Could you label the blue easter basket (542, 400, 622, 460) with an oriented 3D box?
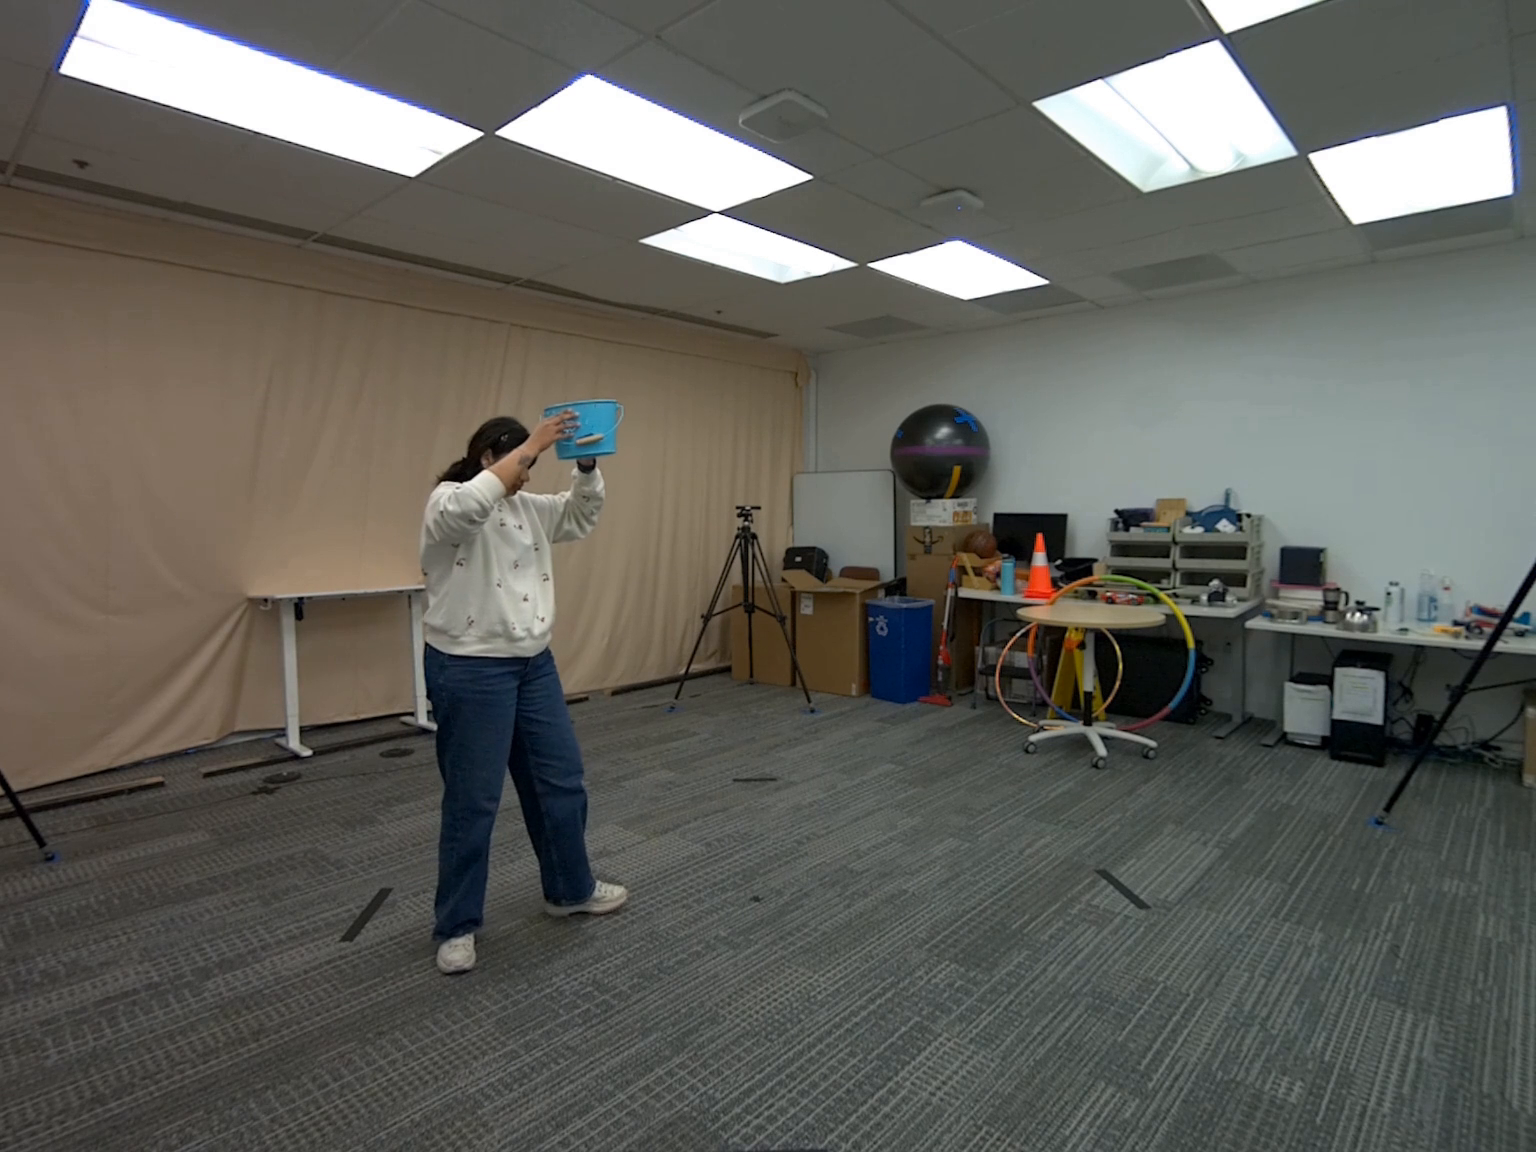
[{"bbox_3d":[-0.576,-0.450,2.557,0.243,0.155,0.244,-5,4,-2],"label":"blue easter basket"}]
